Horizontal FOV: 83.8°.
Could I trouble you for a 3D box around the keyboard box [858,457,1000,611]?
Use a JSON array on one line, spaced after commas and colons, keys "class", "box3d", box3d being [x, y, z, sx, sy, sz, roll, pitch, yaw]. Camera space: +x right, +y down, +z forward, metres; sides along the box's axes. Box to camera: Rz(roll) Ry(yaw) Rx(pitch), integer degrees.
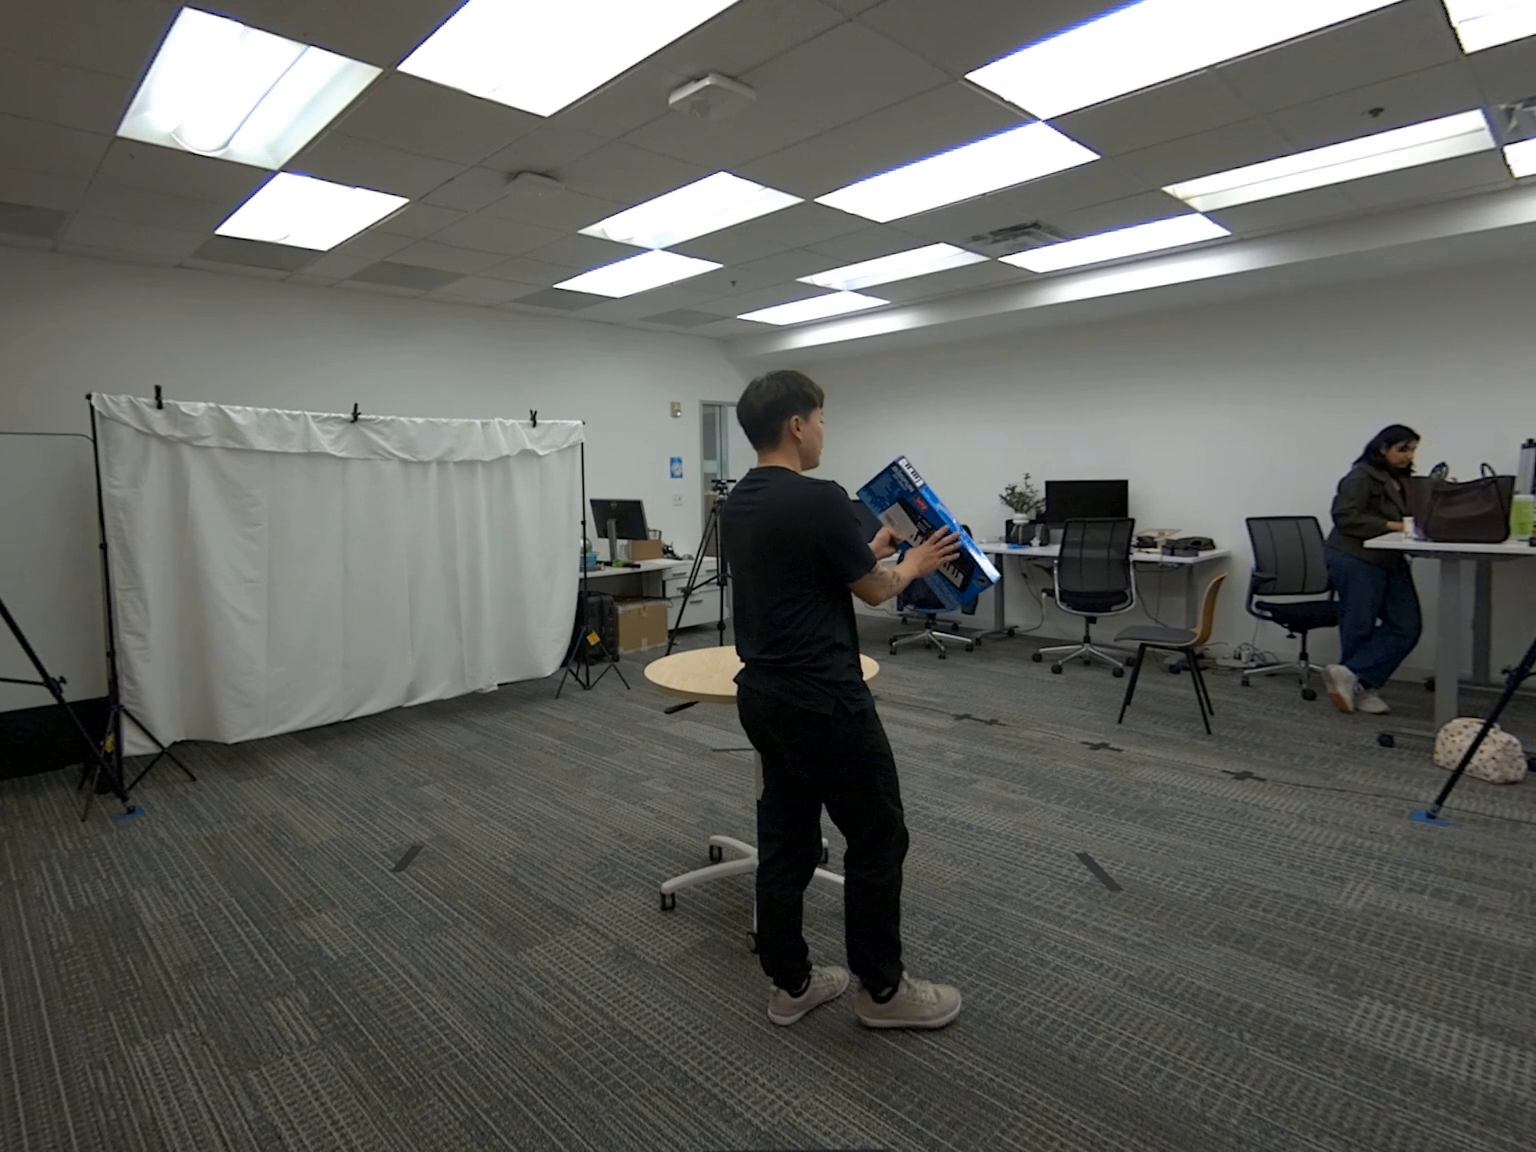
[{"class": "keyboard box", "box3d": [0.459, -0.118, 2.431, 0.058, 0.440, 0.176, -30, -9, -49]}]
